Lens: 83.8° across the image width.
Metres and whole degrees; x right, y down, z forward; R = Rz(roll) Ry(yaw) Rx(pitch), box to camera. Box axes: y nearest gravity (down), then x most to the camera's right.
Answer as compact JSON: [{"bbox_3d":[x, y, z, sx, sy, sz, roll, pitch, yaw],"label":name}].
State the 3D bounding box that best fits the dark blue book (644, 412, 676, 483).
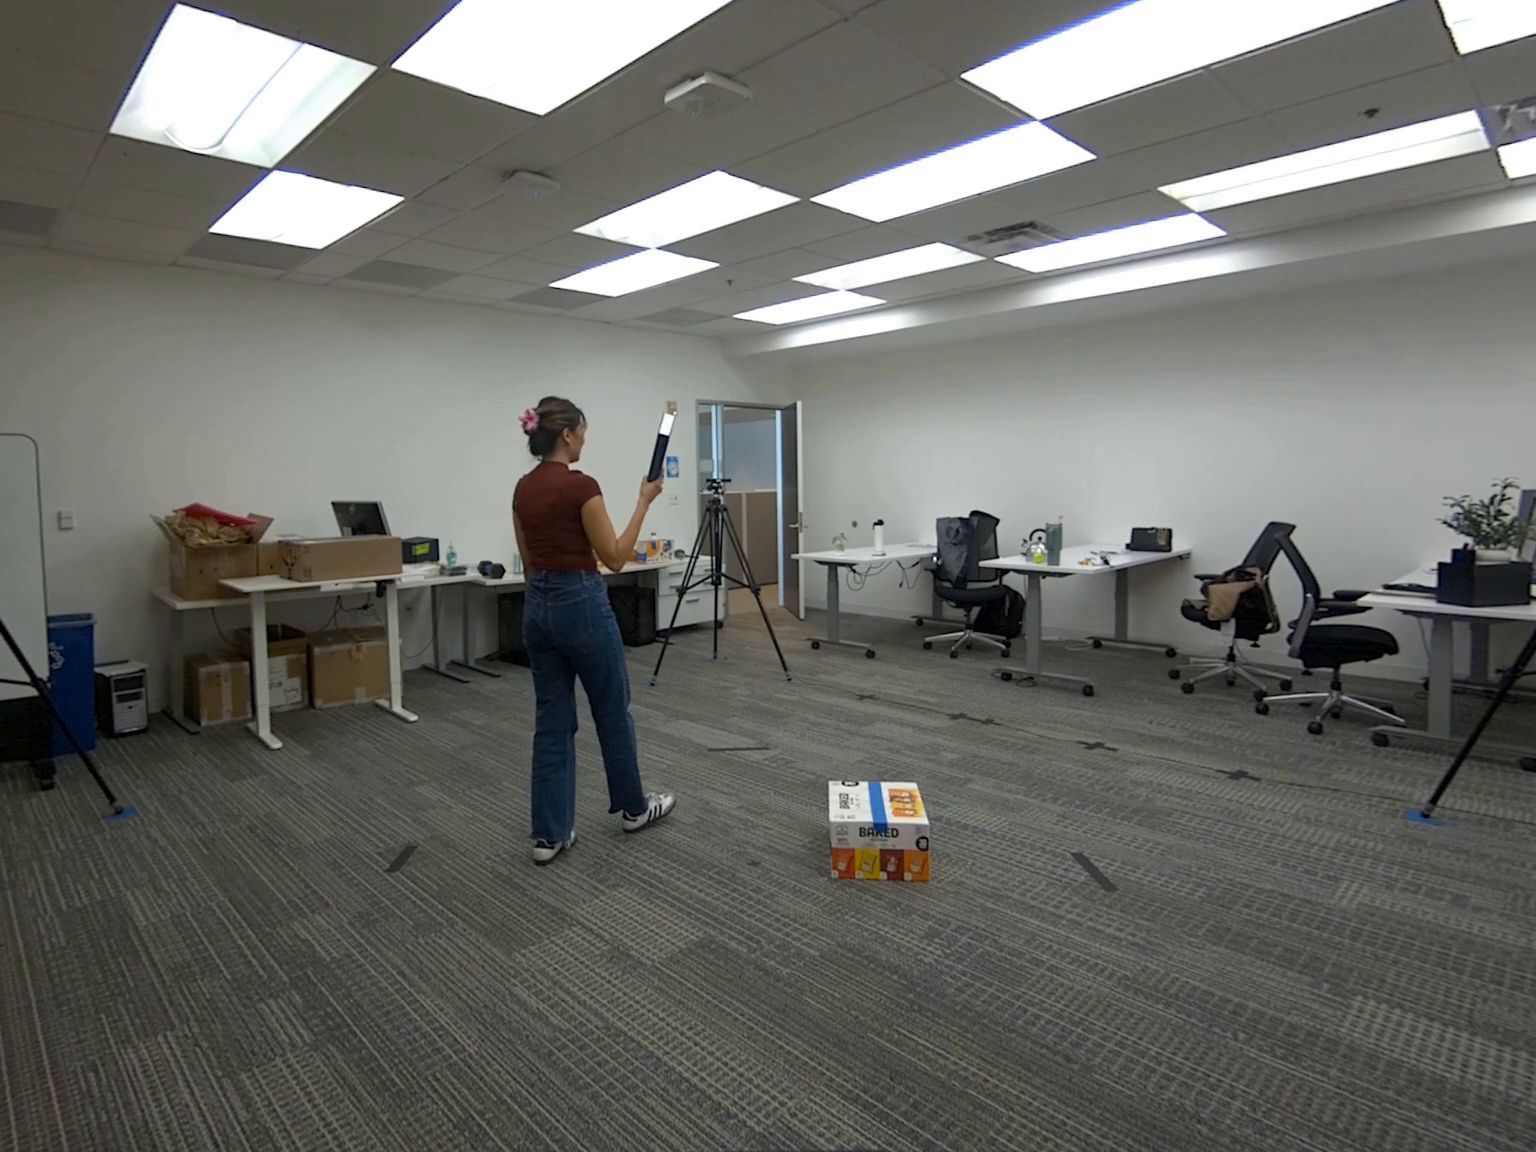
[{"bbox_3d":[-0.401,-0.464,3.193,0.045,0.241,0.167,16,36,-6],"label":"dark blue book"}]
